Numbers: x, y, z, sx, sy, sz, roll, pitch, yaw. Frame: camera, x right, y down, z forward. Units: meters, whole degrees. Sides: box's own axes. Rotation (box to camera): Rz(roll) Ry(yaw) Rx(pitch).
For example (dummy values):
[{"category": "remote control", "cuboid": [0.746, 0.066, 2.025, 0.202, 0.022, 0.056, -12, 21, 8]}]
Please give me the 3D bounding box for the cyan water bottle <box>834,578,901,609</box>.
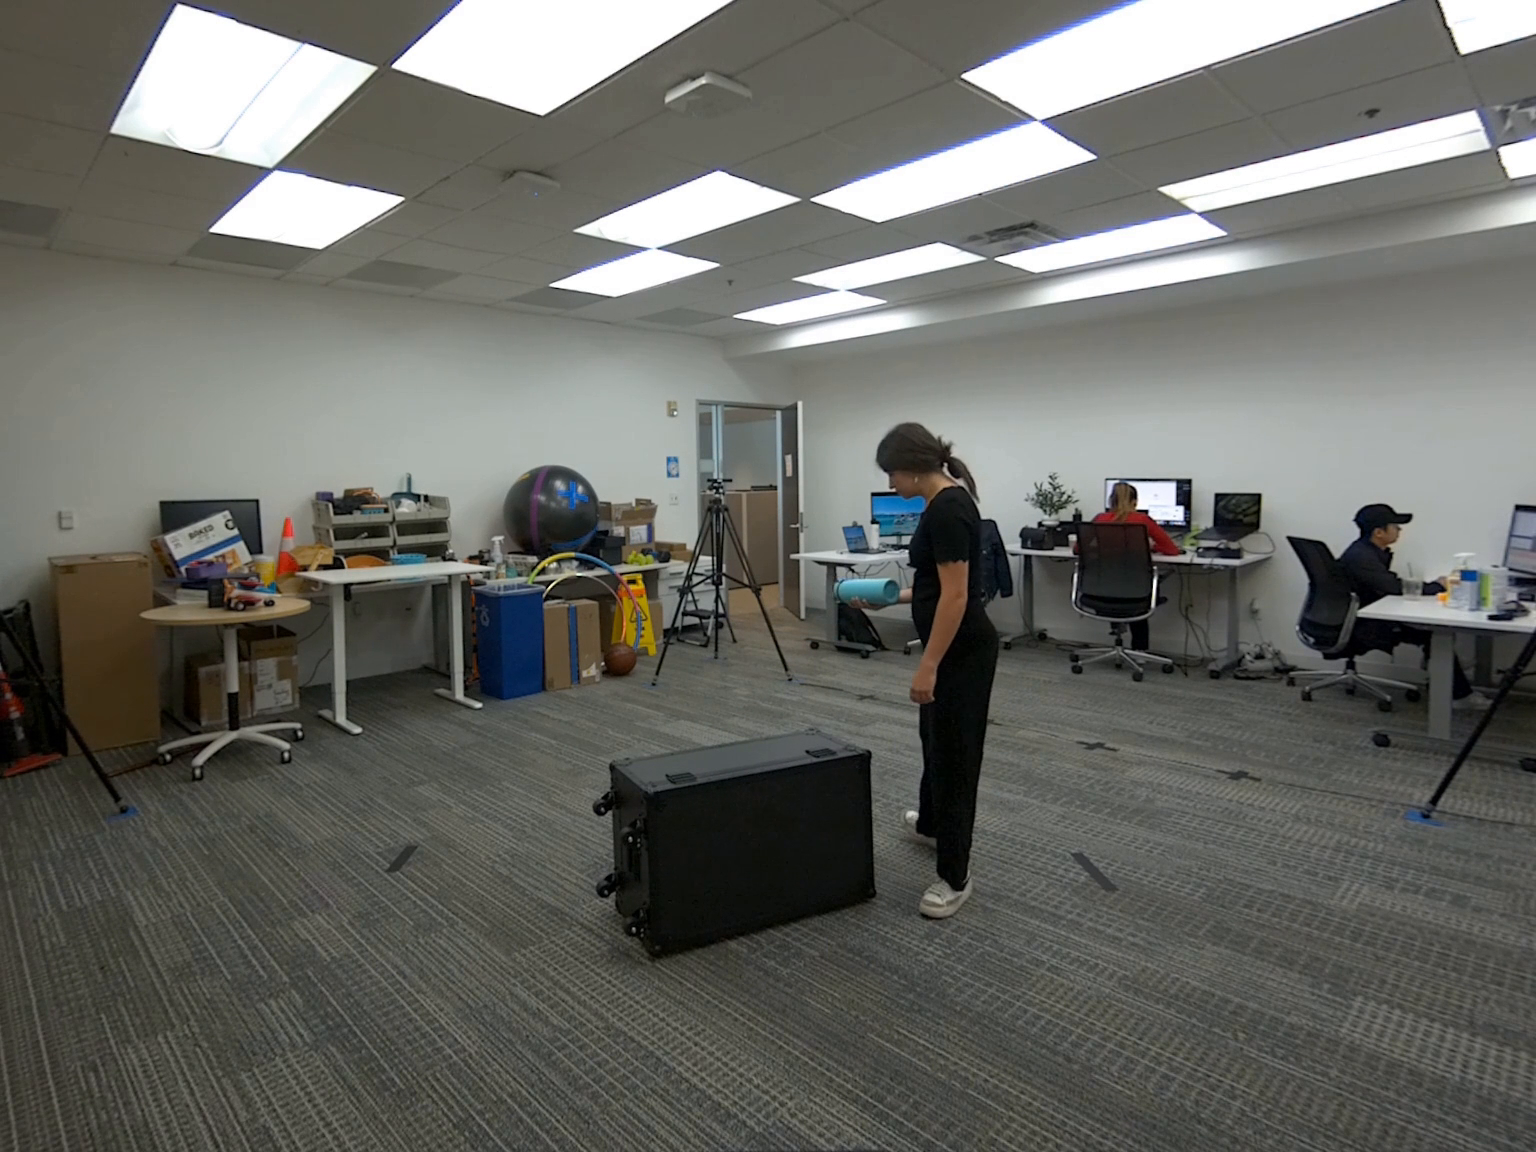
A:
[{"category": "cyan water bottle", "cuboid": [0.344, 0.054, 3.092, 0.090, 0.092, 0.291, -4, 3, -36]}]
